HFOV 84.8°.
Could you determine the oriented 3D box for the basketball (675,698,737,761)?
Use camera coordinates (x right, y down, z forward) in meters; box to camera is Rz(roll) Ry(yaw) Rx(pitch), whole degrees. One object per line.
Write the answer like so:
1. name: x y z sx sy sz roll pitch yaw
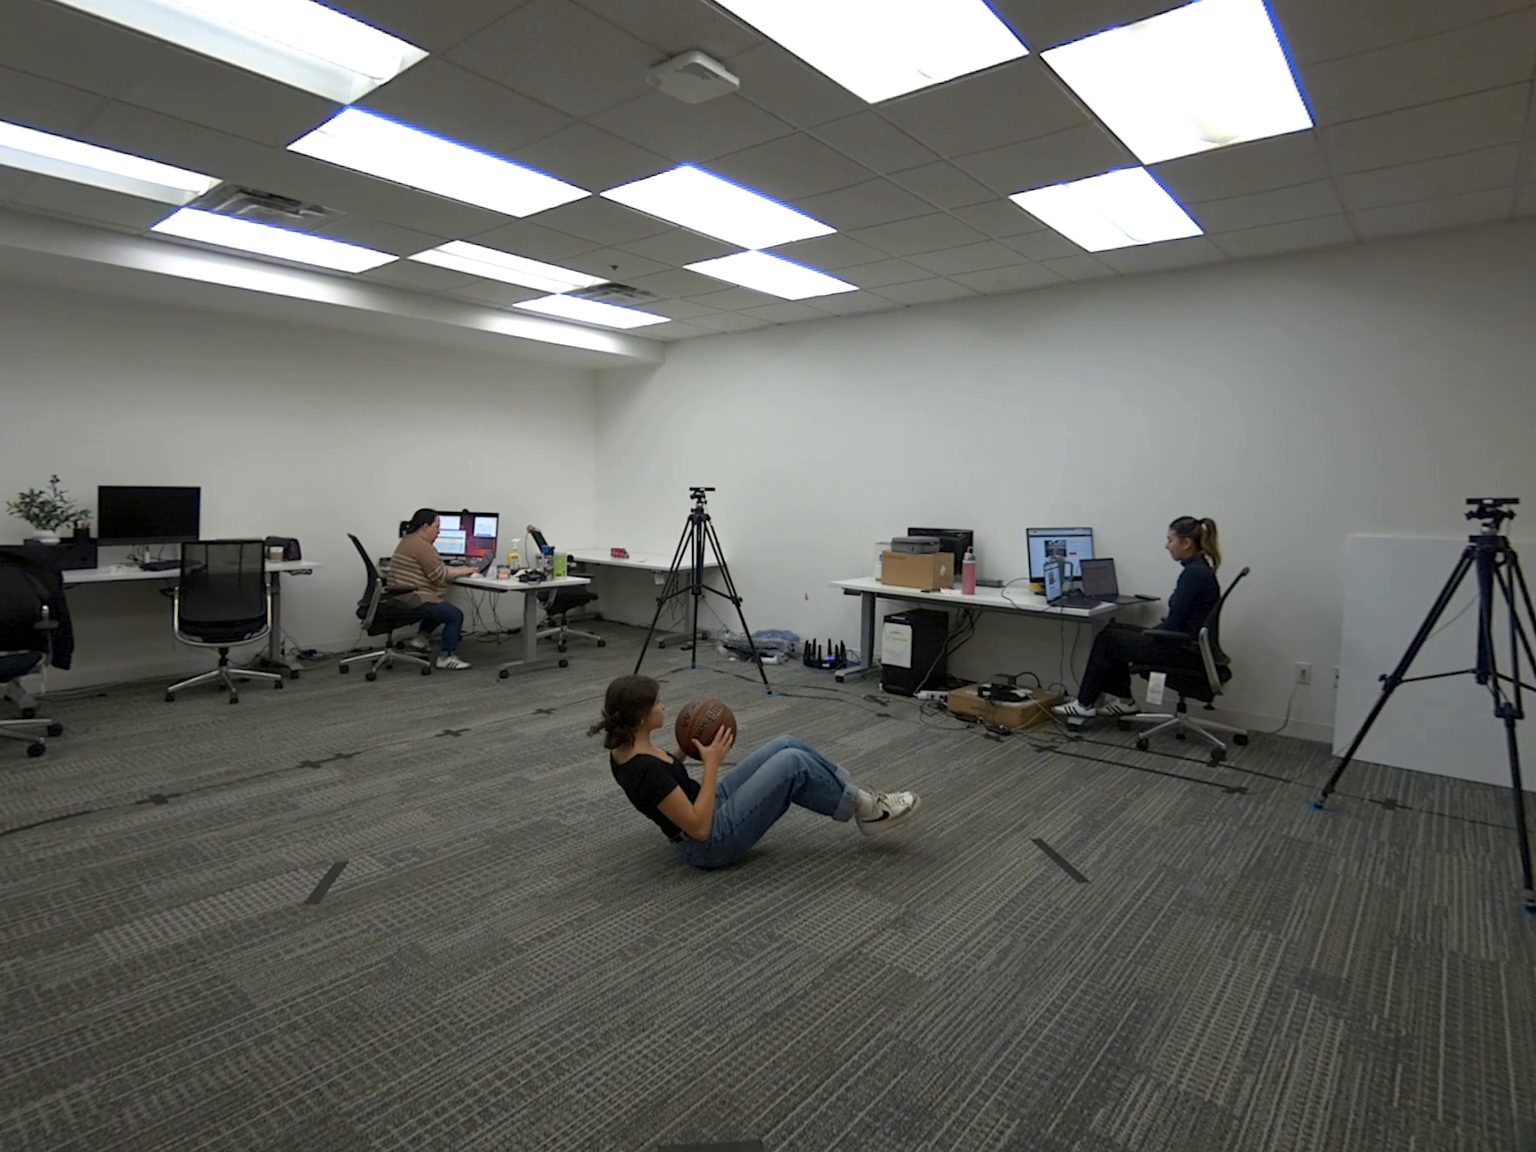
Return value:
1. basketball: -0.252 0.589 3.257 0.235 0.235 0.237 1 4 -2
